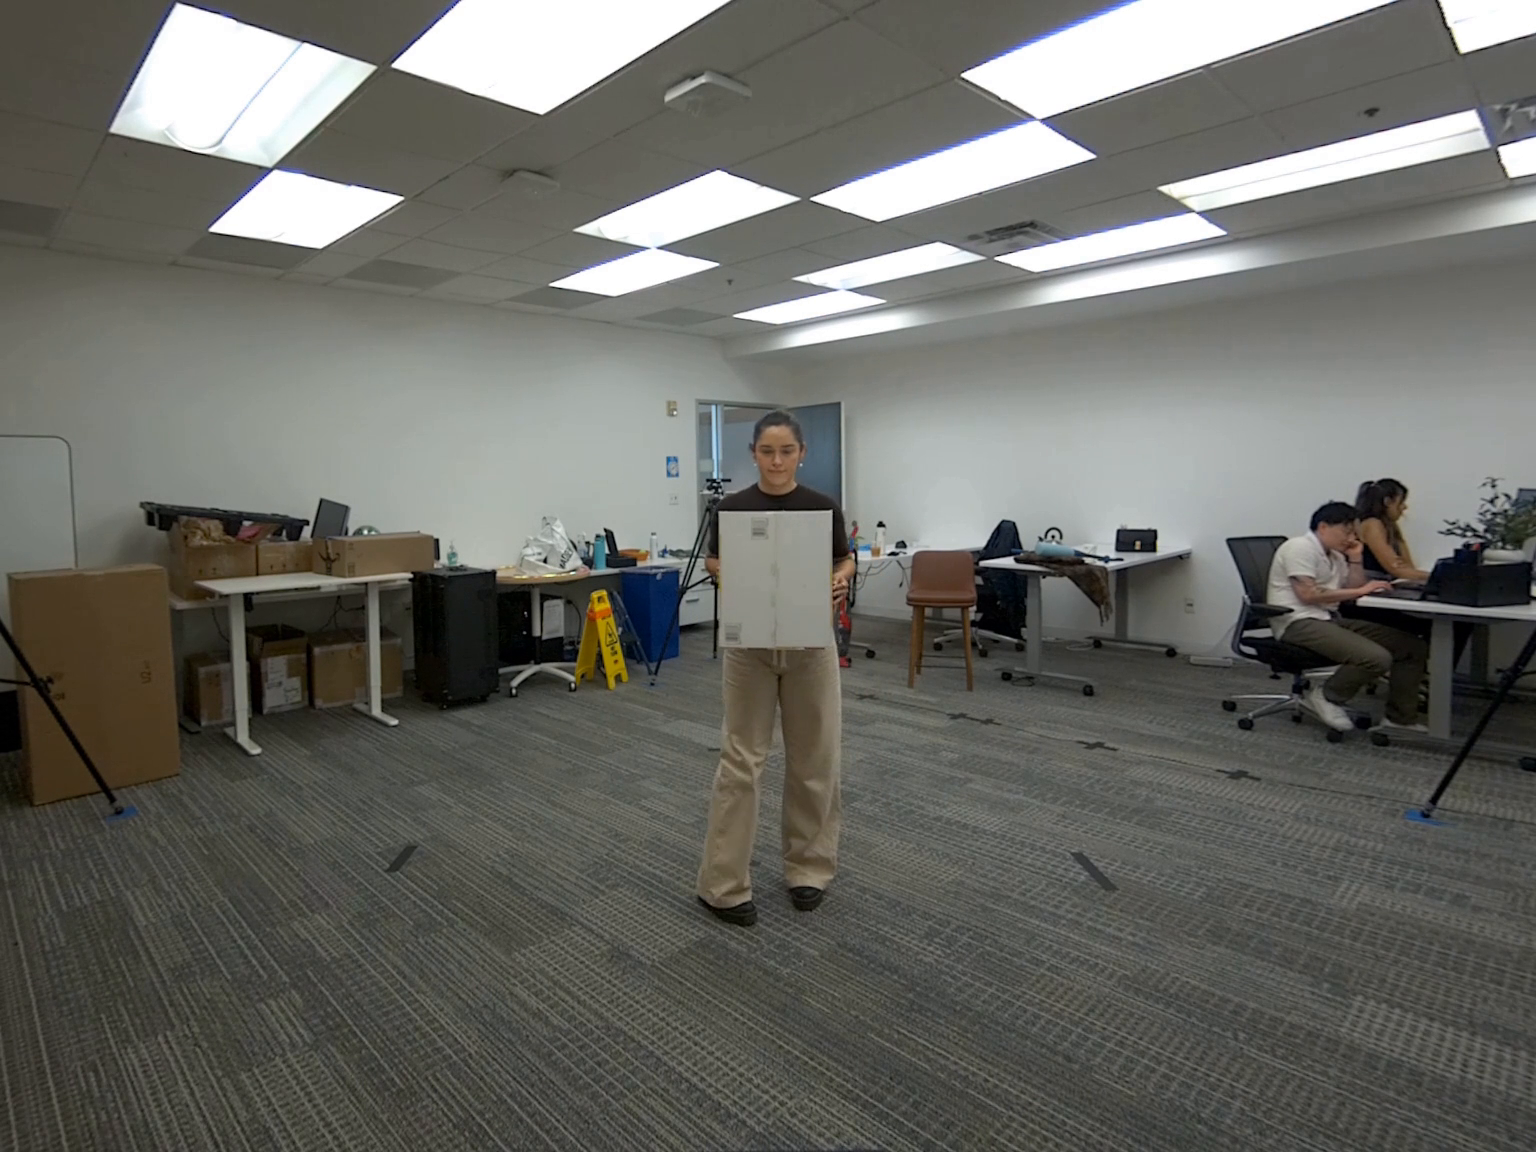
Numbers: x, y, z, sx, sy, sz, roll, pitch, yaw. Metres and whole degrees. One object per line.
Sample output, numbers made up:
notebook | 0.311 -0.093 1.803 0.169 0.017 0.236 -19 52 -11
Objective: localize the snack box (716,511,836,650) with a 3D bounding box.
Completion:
snack box | 0.028 0.003 2.596 0.342 0.404 0.205 -1 2 6
